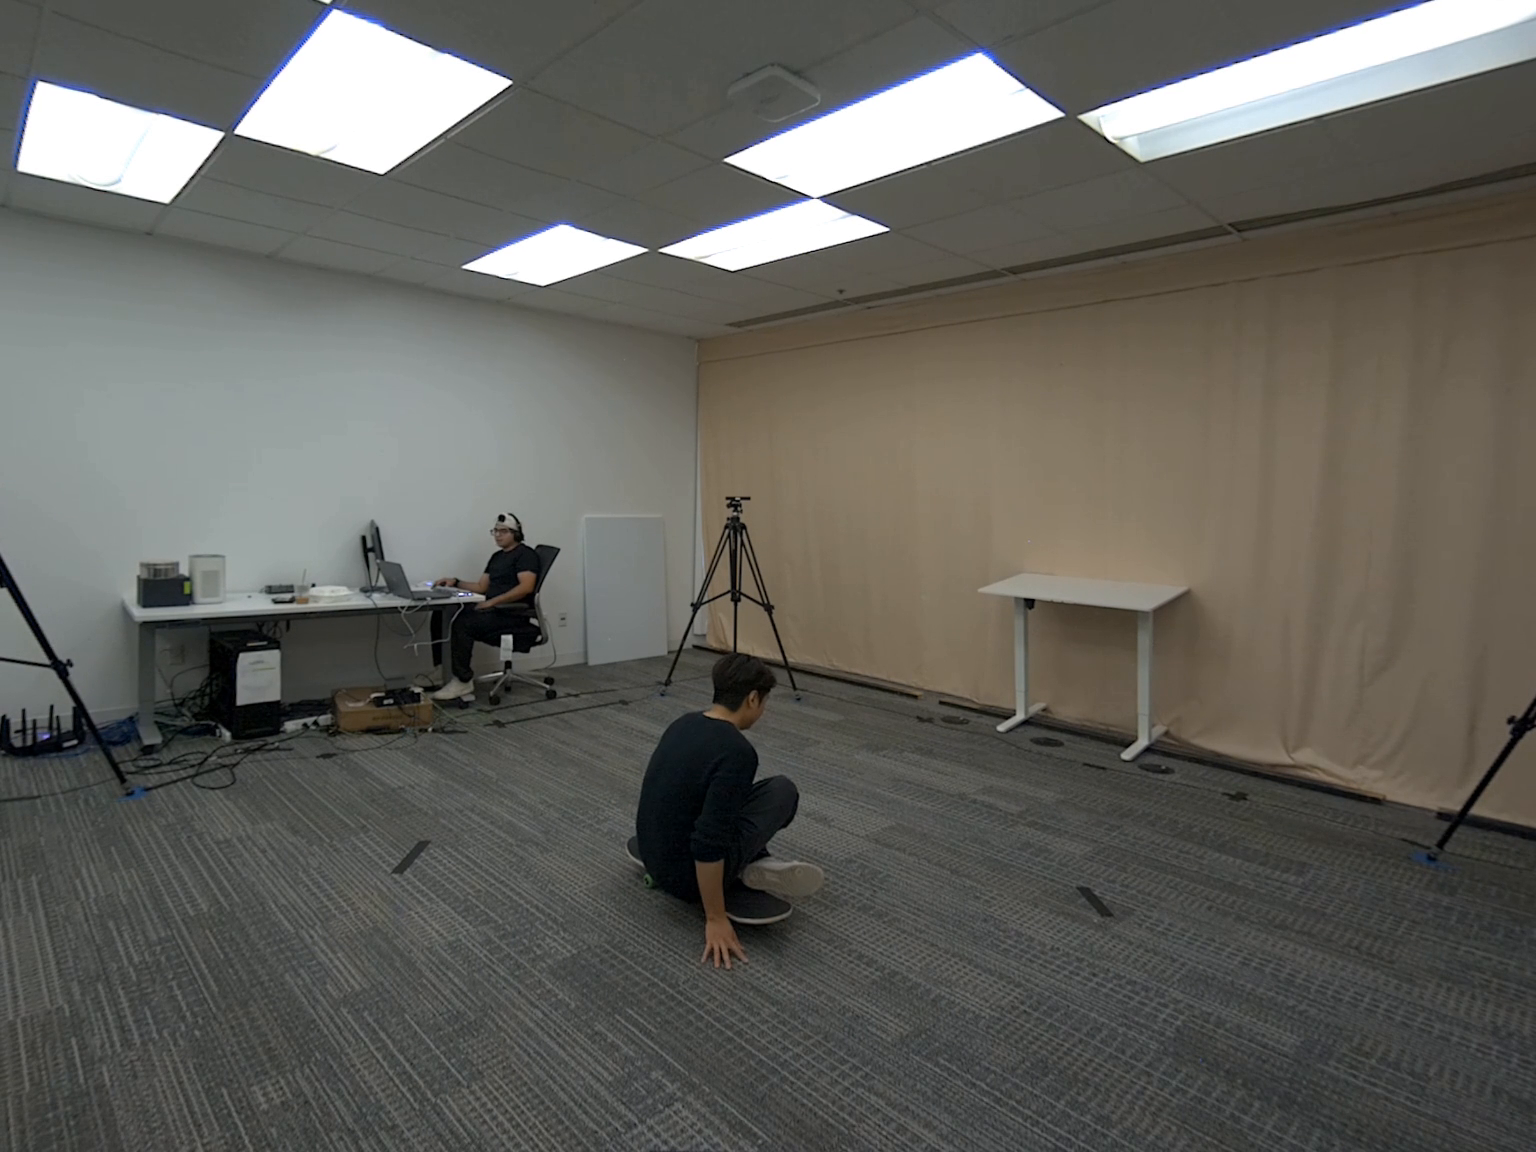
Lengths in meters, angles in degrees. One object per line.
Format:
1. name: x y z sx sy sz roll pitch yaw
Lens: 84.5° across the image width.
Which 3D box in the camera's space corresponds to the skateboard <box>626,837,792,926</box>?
1. skateboard: -0.221 1.074 2.907 0.806 0.110 0.189 6 7 43
